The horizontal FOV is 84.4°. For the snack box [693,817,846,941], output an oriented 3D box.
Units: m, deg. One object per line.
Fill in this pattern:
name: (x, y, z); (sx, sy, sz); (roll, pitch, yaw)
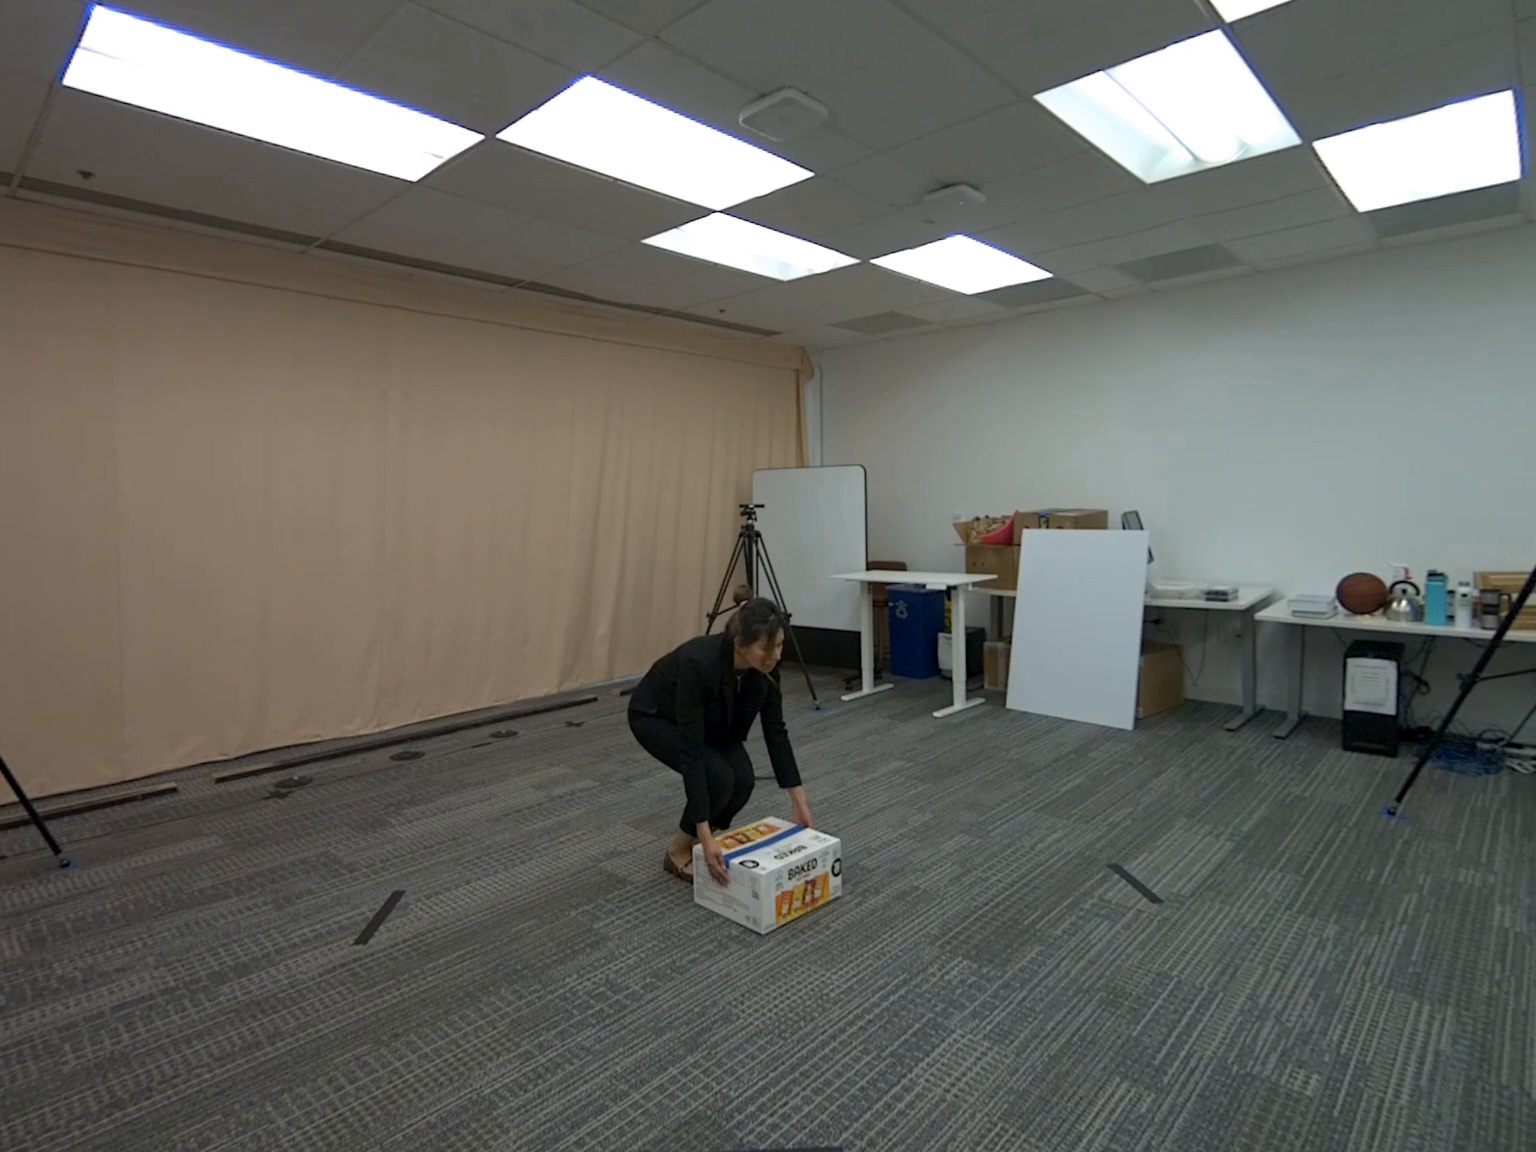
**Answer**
snack box: (0.005, 1.036, 2.954); (0.351, 0.205, 0.393); (3, 5, 45)
